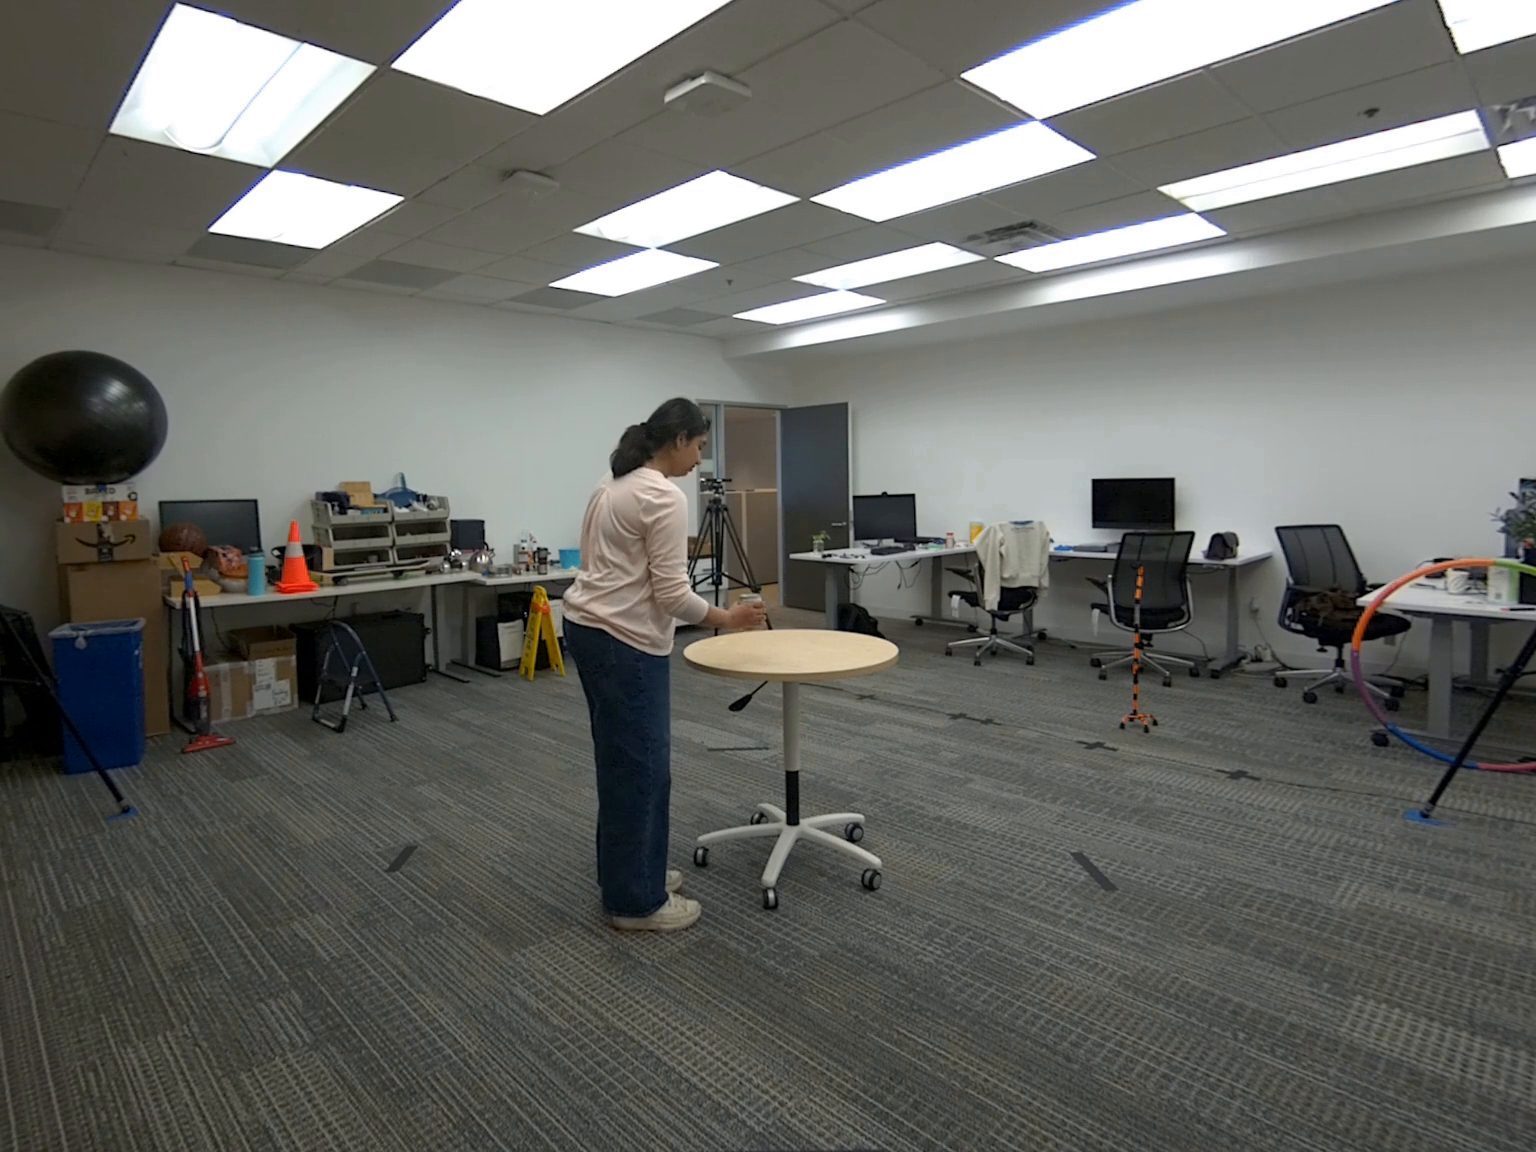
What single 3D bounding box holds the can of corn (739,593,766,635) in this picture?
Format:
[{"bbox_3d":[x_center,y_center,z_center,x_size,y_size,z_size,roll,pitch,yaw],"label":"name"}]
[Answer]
[{"bbox_3d":[-0.054,0.123,2.812,0.074,0.110,0.075,-5,10,-1],"label":"can of corn"}]
